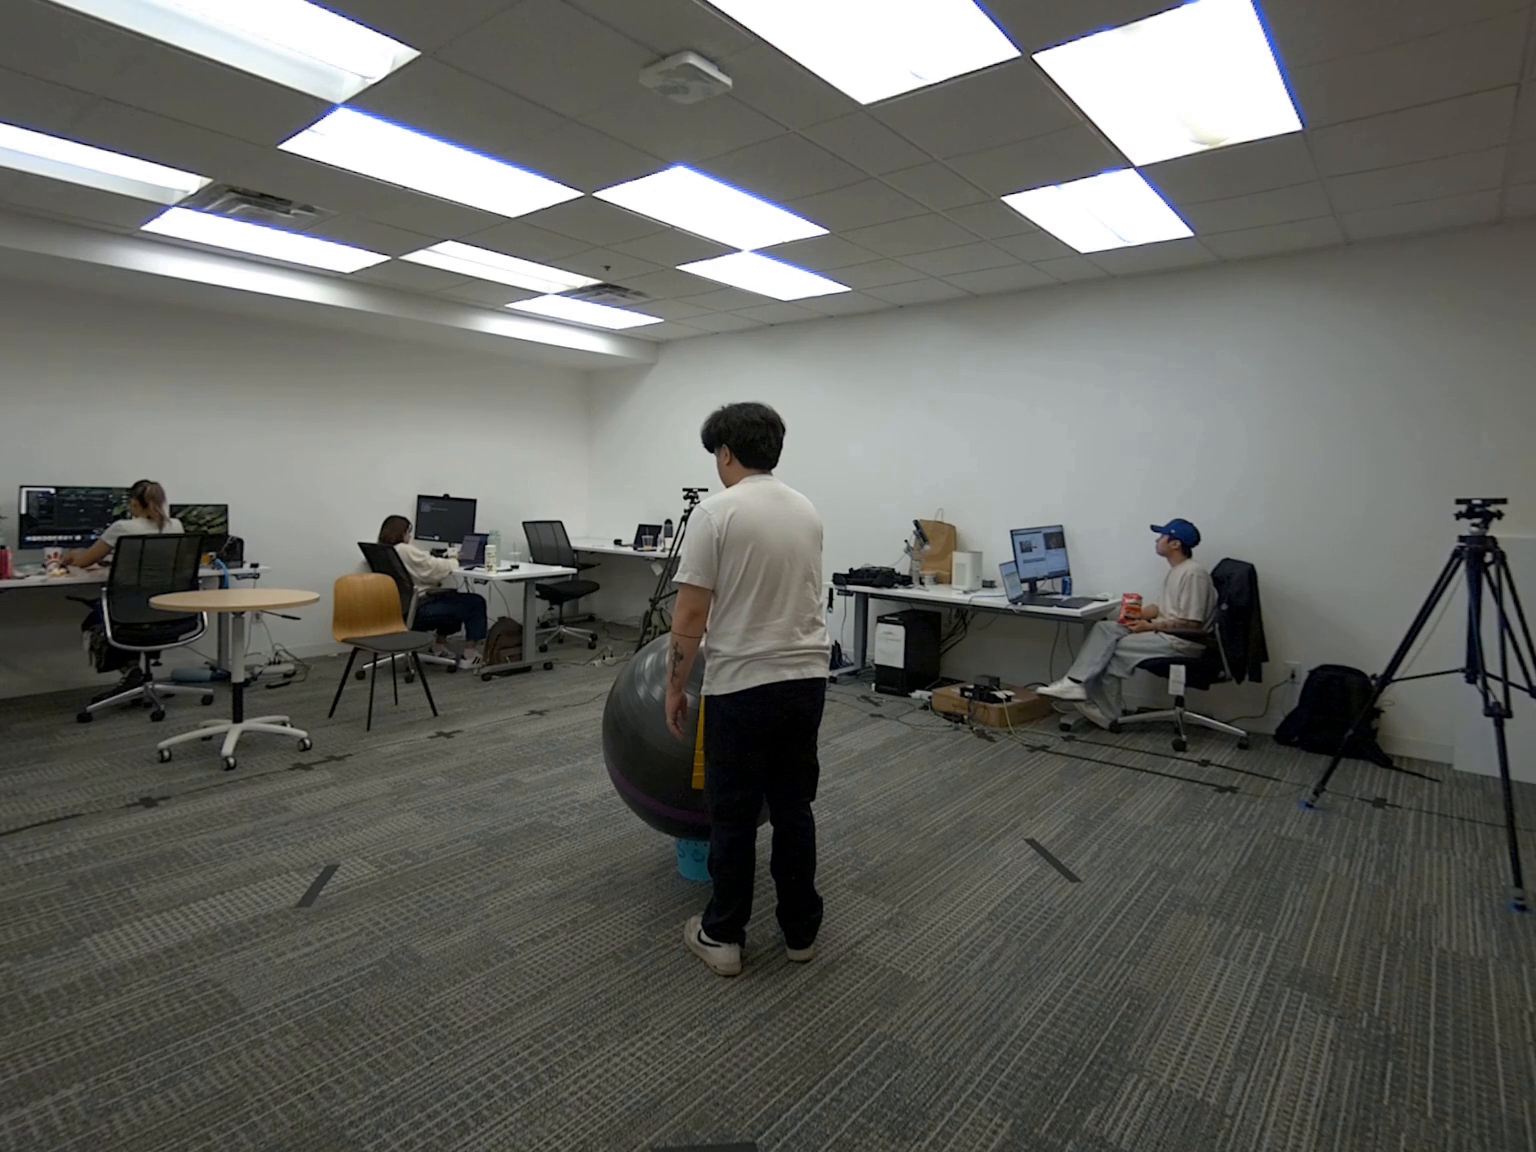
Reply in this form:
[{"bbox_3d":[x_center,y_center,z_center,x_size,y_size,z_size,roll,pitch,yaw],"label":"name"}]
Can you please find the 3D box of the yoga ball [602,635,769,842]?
[{"bbox_3d":[-0.228,0.563,3.090,0.757,0.756,0.761,1,4,-2],"label":"yoga ball"}]
